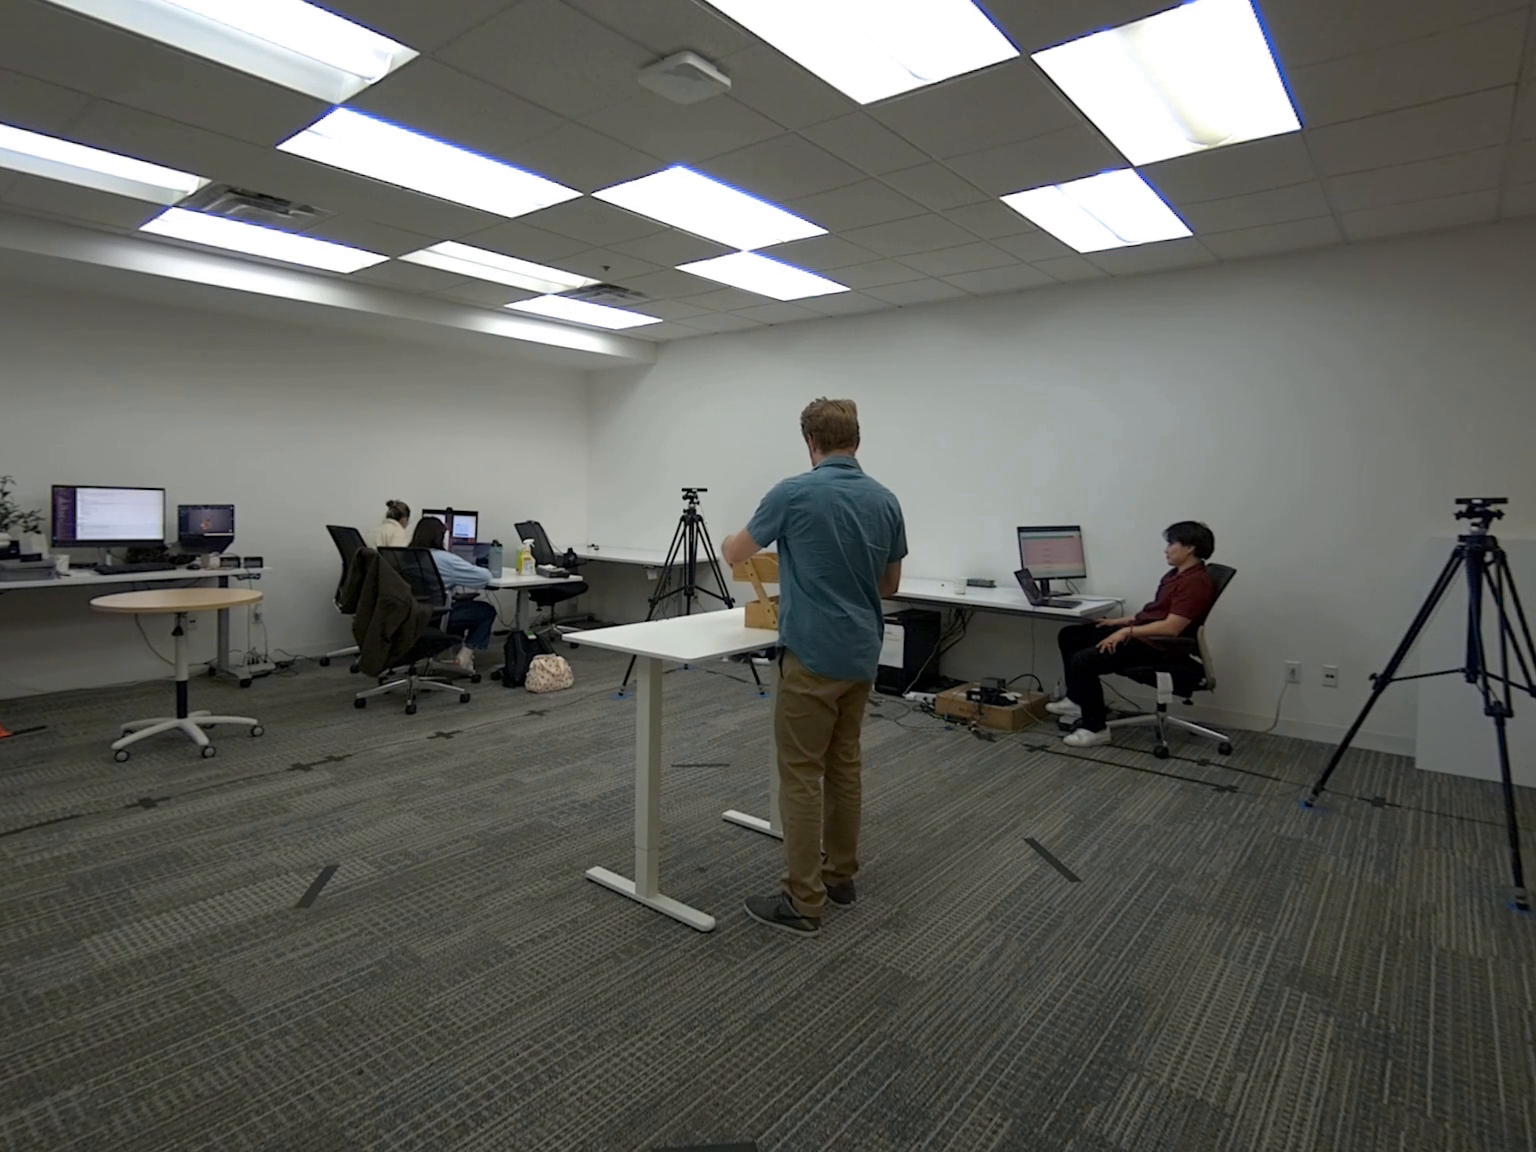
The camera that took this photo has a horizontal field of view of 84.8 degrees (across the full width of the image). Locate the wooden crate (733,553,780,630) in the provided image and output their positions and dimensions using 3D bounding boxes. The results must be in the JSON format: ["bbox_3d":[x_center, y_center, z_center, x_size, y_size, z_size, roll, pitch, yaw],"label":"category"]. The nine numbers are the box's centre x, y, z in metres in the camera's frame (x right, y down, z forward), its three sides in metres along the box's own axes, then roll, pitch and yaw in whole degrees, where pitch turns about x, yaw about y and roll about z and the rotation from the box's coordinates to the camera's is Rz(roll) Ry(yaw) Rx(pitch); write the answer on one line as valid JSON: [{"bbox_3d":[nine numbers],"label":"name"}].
[{"bbox_3d":[0.055,0.047,3.218,0.310,0.272,0.318,3,6,24],"label":"wooden crate"}]
